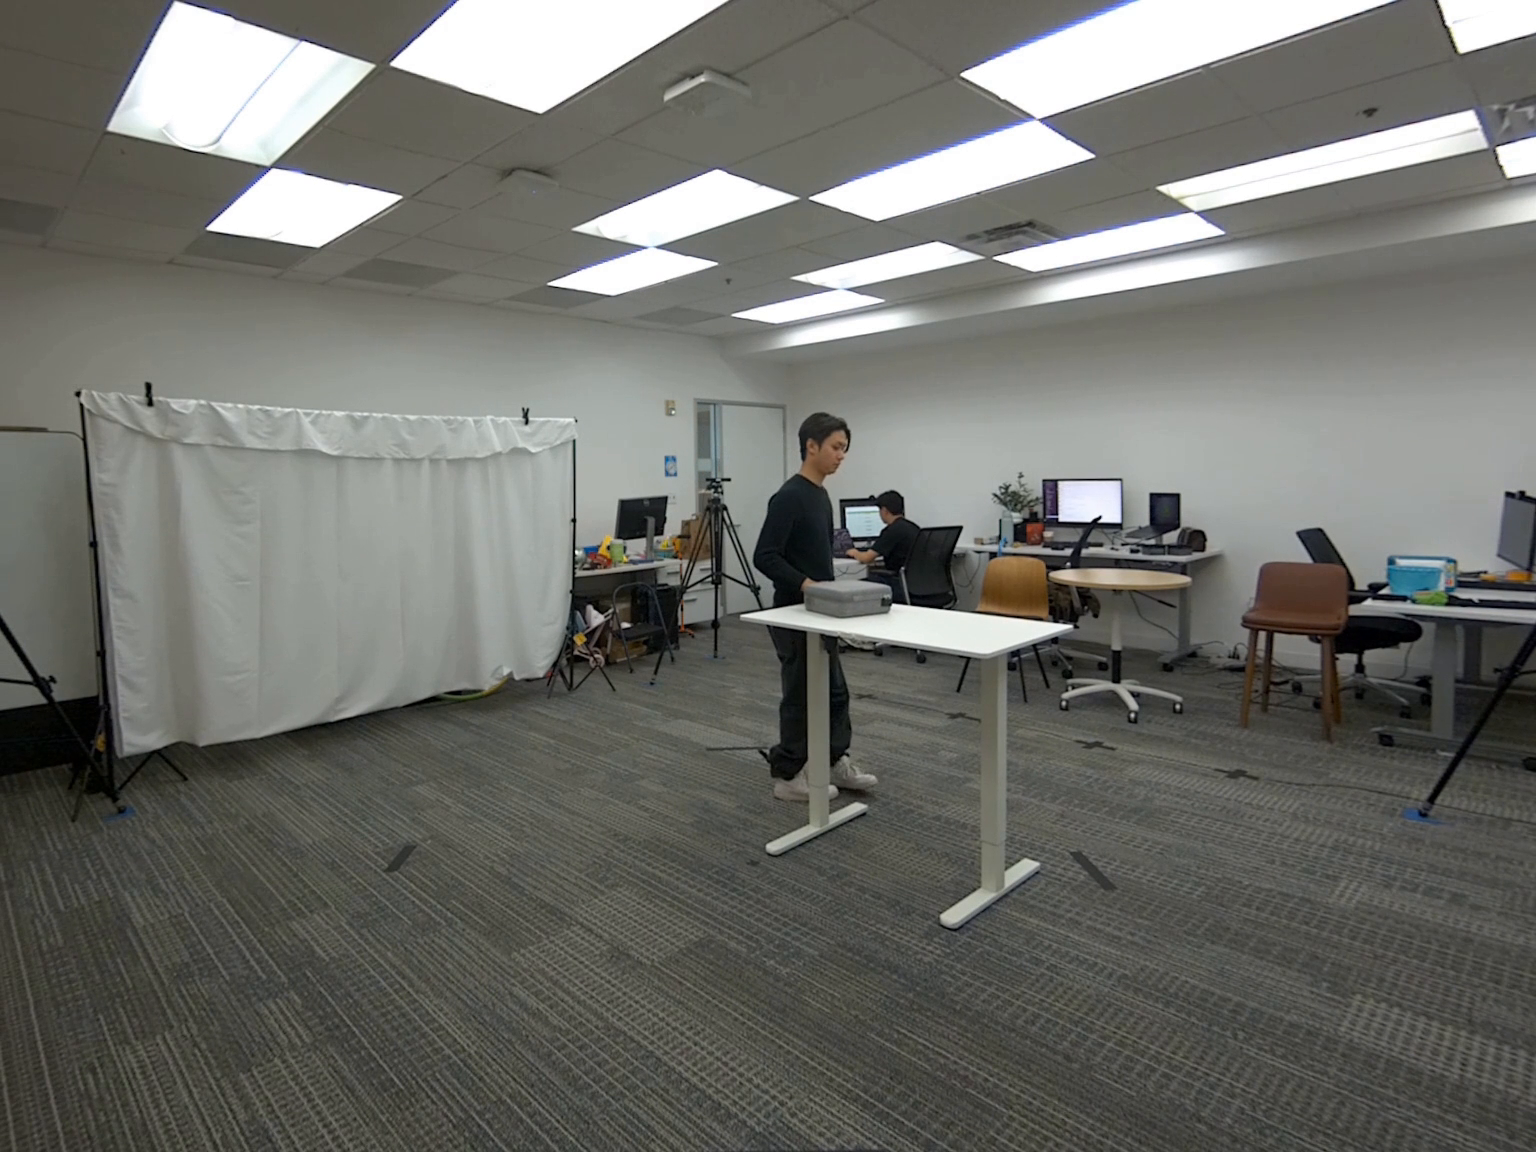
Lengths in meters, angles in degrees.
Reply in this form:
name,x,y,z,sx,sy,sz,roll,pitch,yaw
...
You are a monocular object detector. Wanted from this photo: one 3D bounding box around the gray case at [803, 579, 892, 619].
name,x,y,z,sx,sy,sz,roll,pitch,yaw
gray case,0.296,0.085,3.237,0.251,0.104,0.268,-6,8,-29
